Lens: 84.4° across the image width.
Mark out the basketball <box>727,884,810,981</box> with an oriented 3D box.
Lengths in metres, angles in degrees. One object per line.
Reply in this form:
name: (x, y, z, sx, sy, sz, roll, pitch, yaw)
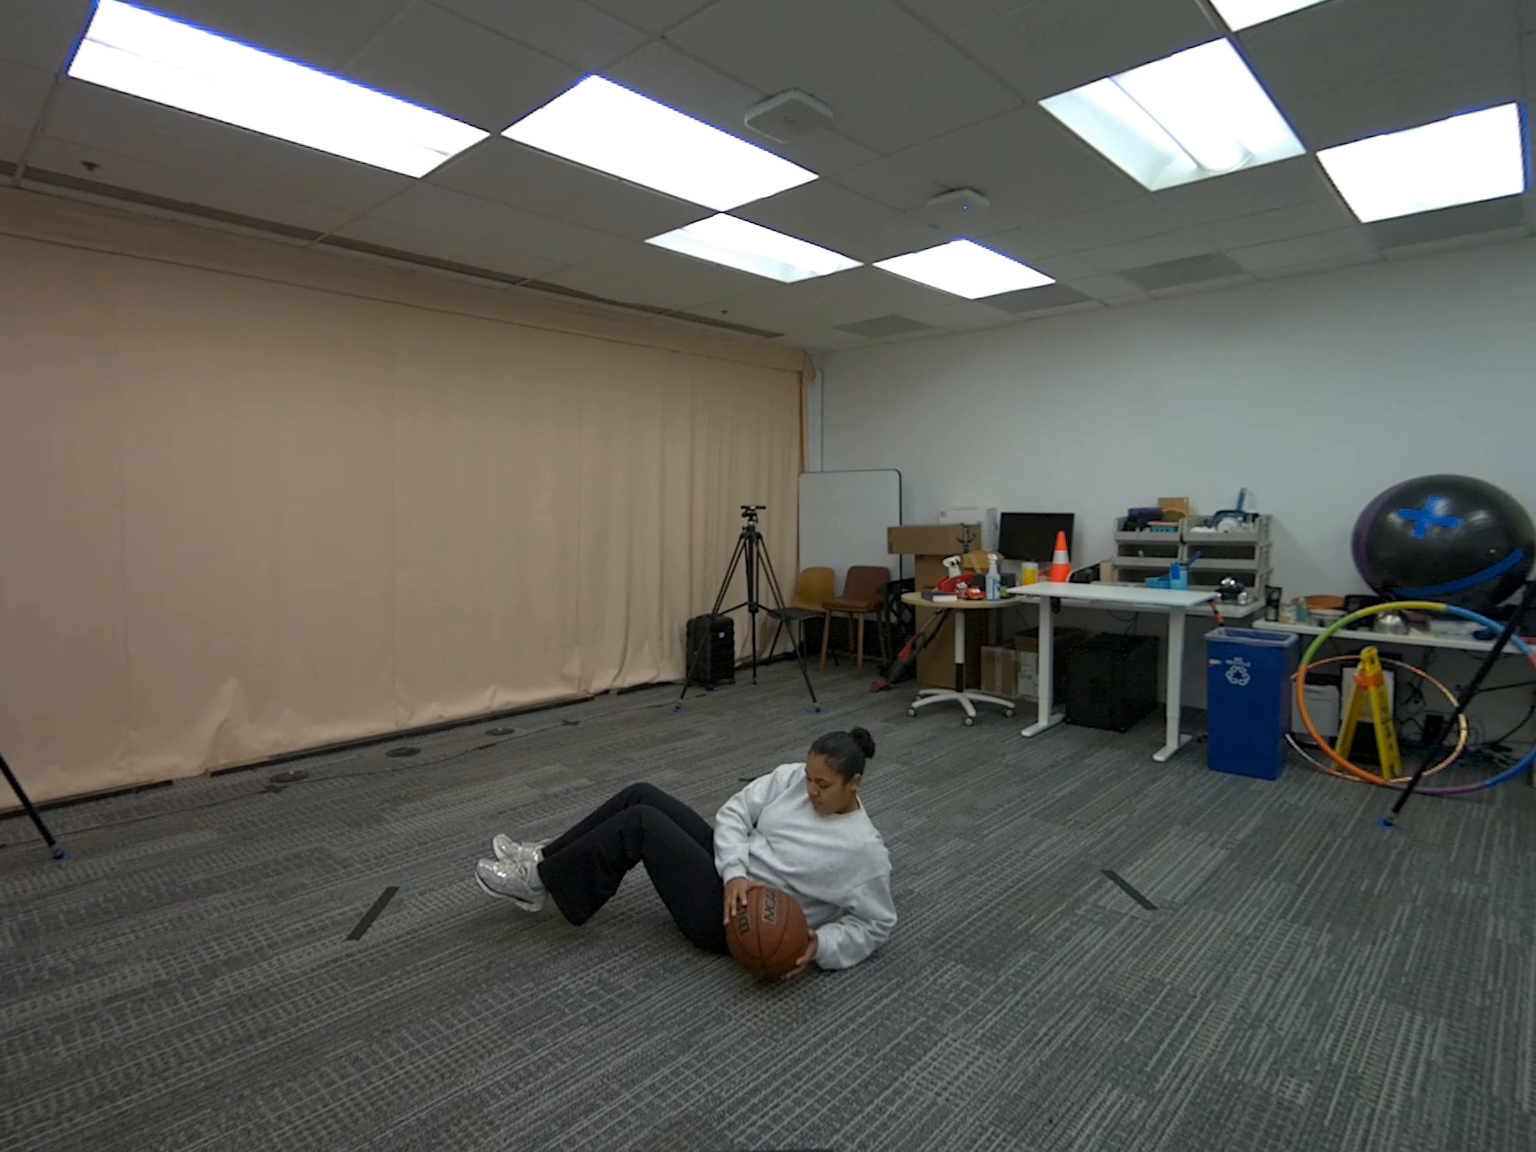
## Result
basketball: (-0.011, 0.992, 2.444, 0.236, 0.235, 0.237, 0, 4, -2)
